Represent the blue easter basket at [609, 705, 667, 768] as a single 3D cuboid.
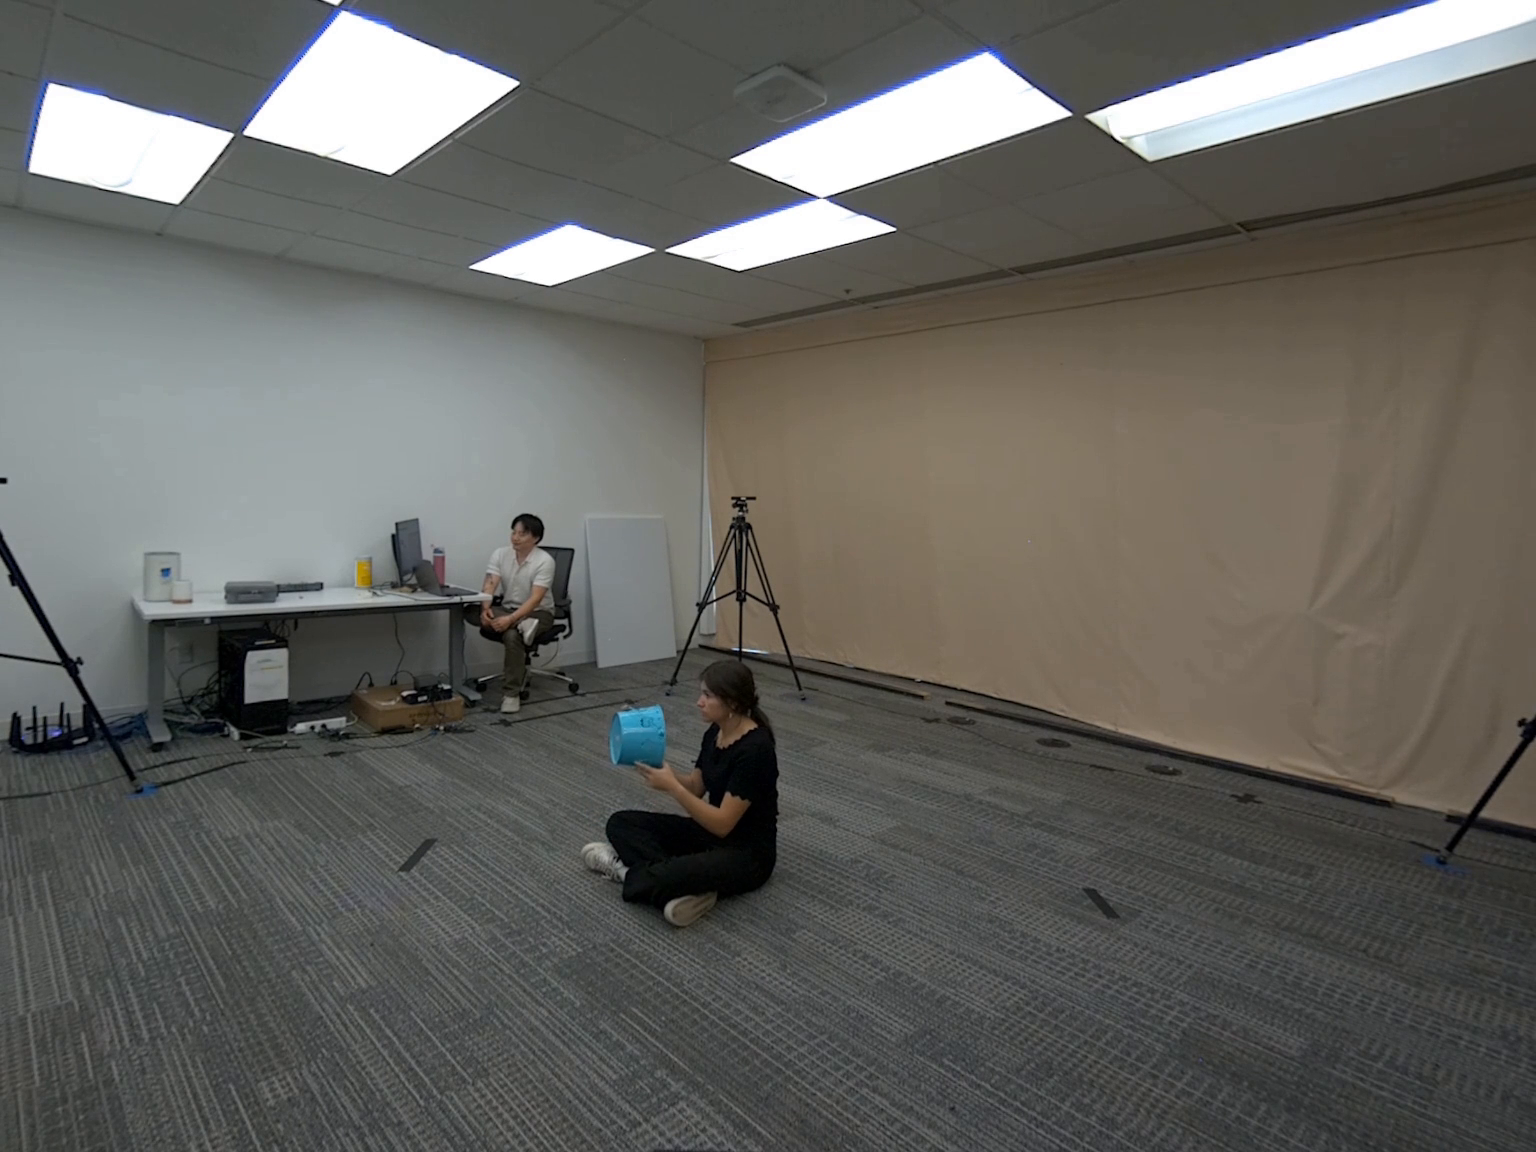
[{"bbox_3d":[-0.481,0.580,3.036,0.153,0.243,0.248,4,3,-21],"label":"blue easter basket"}]
